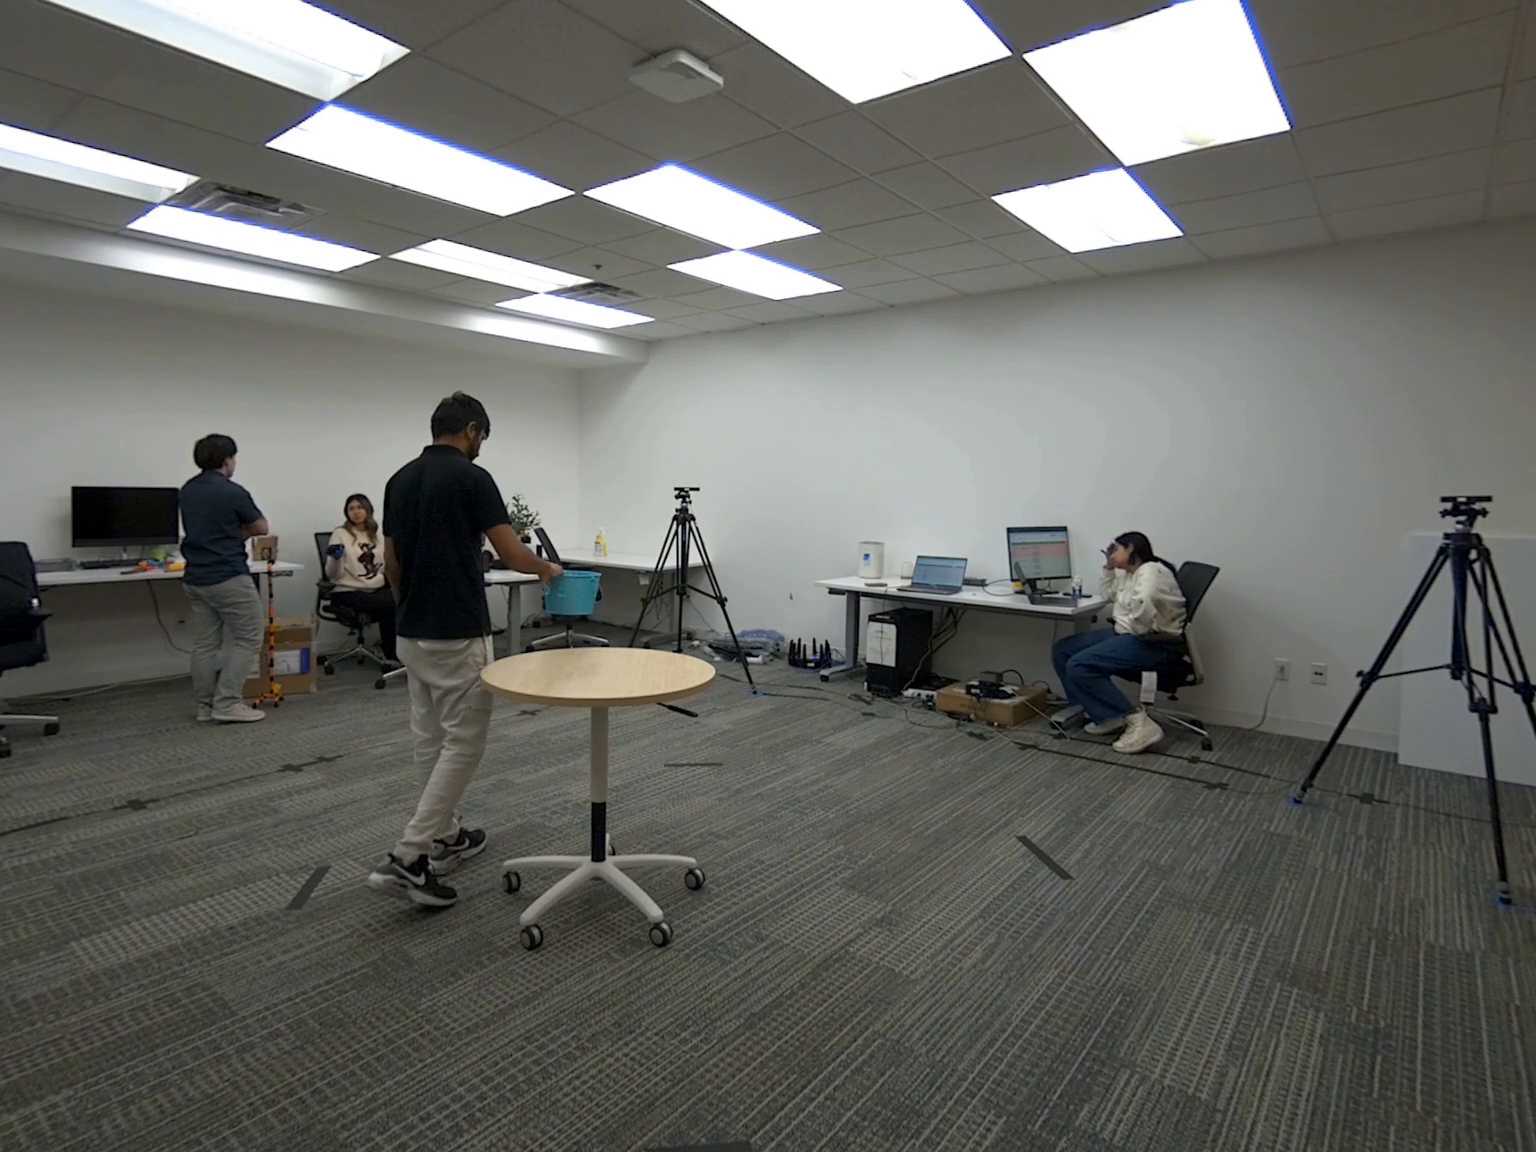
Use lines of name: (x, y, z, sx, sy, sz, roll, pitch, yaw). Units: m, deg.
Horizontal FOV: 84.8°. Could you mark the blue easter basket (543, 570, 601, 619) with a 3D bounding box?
blue easter basket: (-0.776, 0.062, 3.319, 0.243, 0.155, 0.245, 1, 4, -2)
